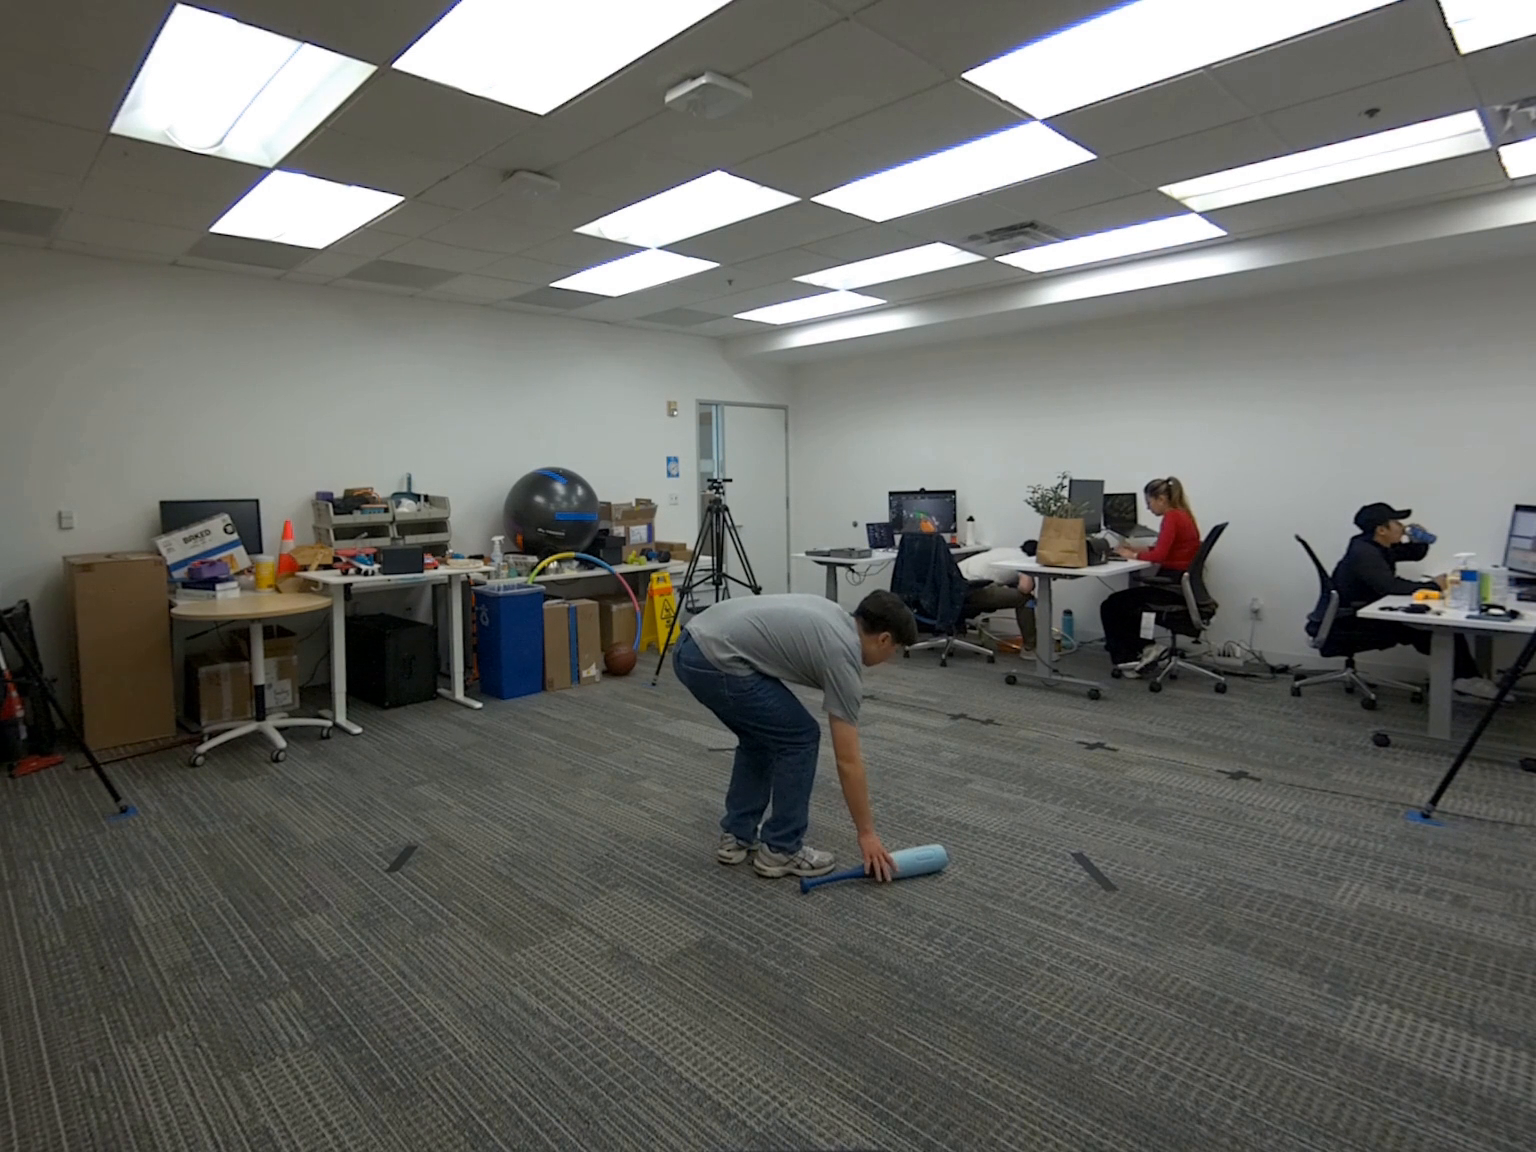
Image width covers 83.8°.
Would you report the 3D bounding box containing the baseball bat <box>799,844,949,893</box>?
[{"bbox_3d":[0.370,1.012,2.953,0.536,0.088,0.090,-7,6,-14],"label":"baseball bat"}]
